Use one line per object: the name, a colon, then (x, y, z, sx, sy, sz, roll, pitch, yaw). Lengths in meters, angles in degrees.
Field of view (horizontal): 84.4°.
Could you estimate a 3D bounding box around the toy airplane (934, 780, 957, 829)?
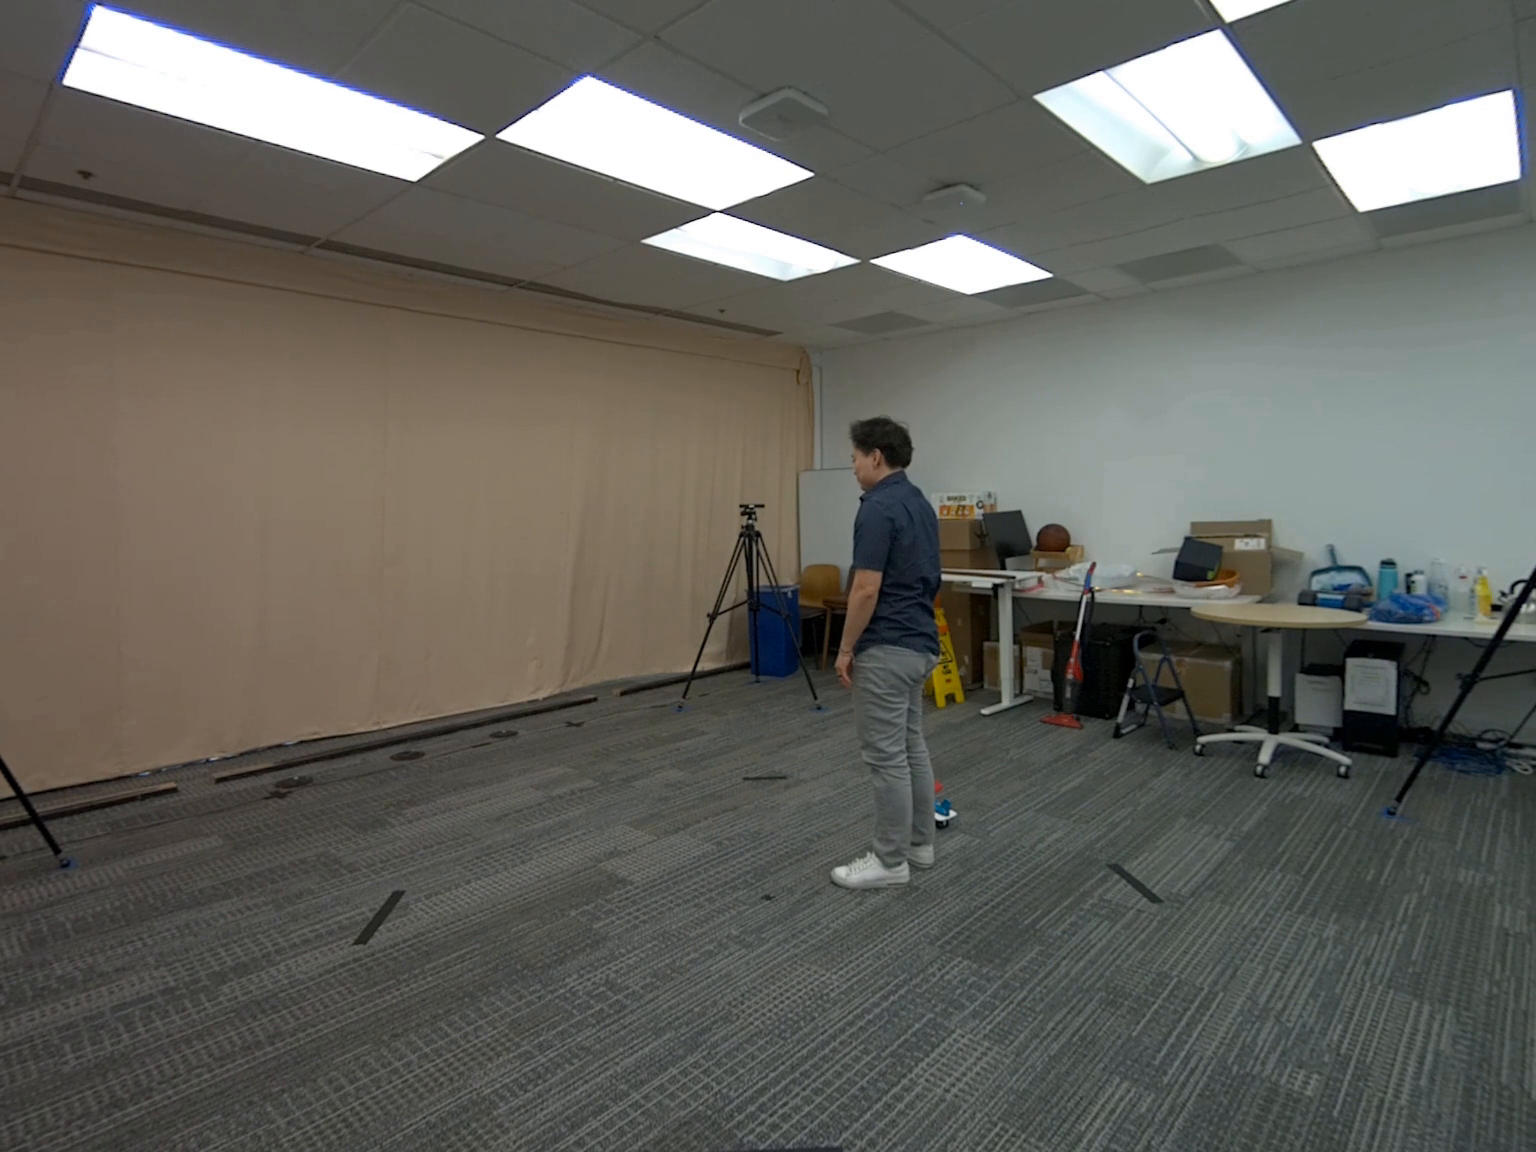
toy airplane: (0.699, 0.993, 3.683, 0.266, 0.156, 0.245, 0, 4, 24)
